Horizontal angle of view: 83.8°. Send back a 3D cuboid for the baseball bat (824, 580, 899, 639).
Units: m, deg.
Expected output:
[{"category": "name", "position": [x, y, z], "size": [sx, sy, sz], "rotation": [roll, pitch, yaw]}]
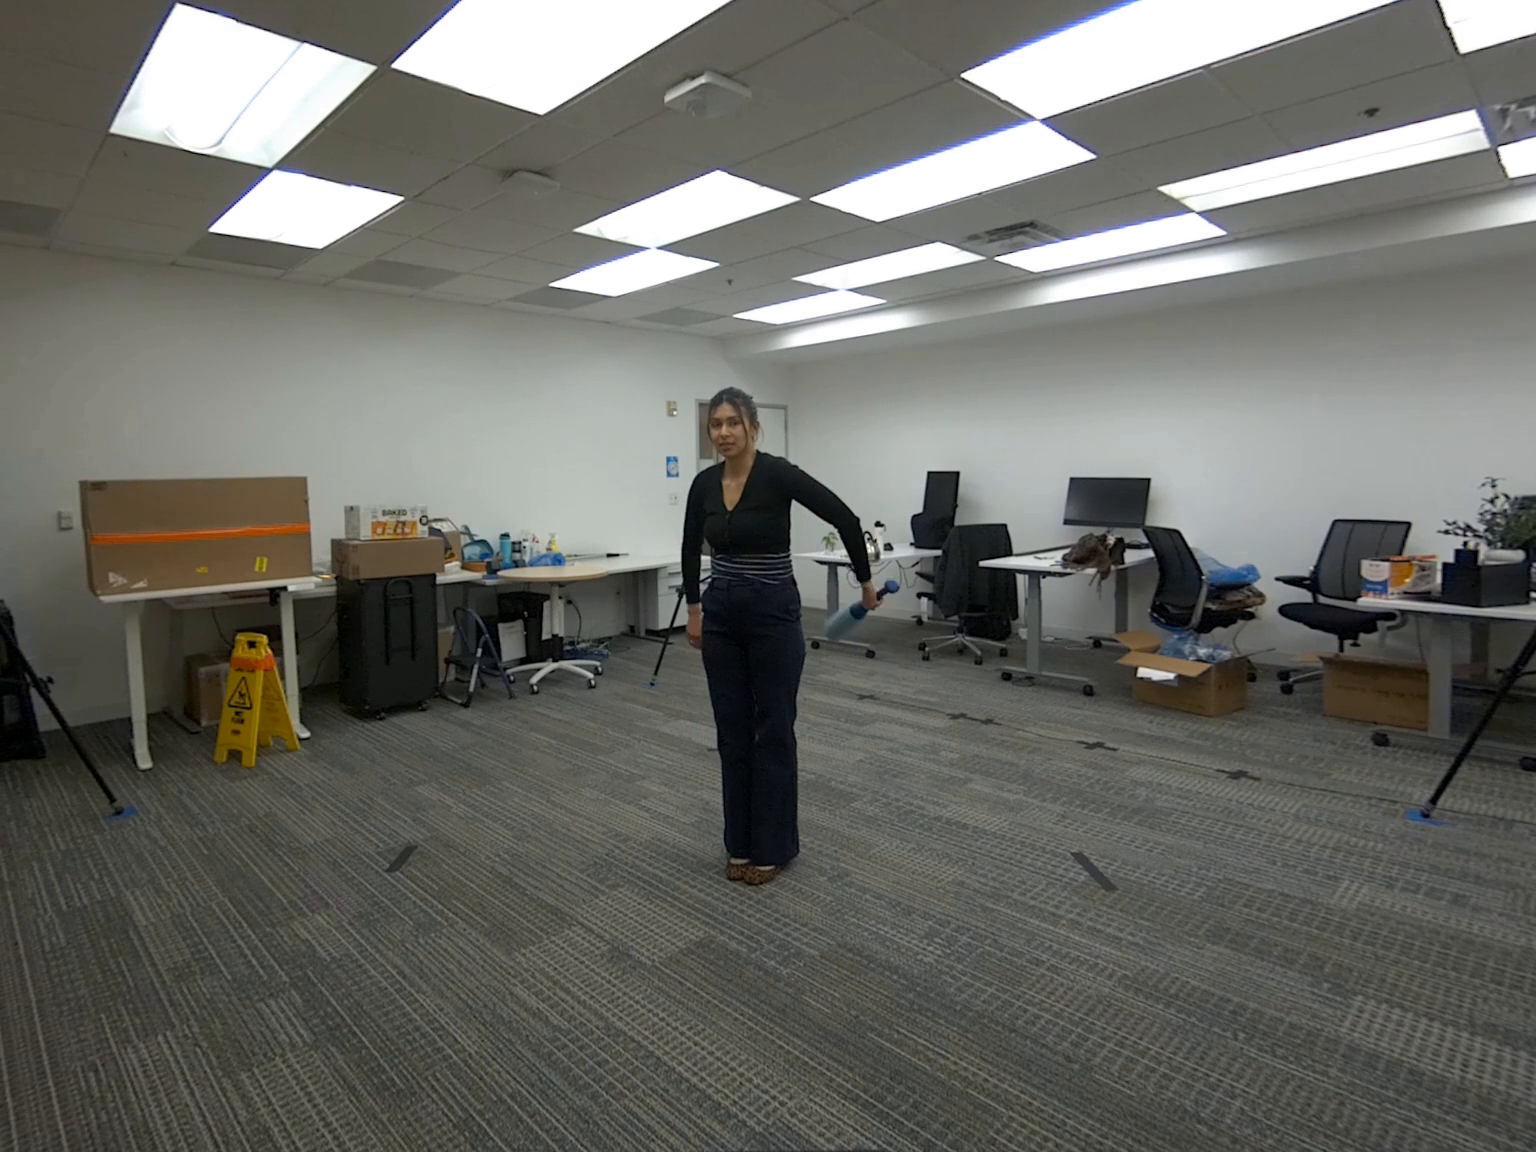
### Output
[{"category": "baseball bat", "position": [0.340, 0.123, 3.118], "size": [0.087, 0.091, 0.541], "rotation": [-2, -19, -20]}]
